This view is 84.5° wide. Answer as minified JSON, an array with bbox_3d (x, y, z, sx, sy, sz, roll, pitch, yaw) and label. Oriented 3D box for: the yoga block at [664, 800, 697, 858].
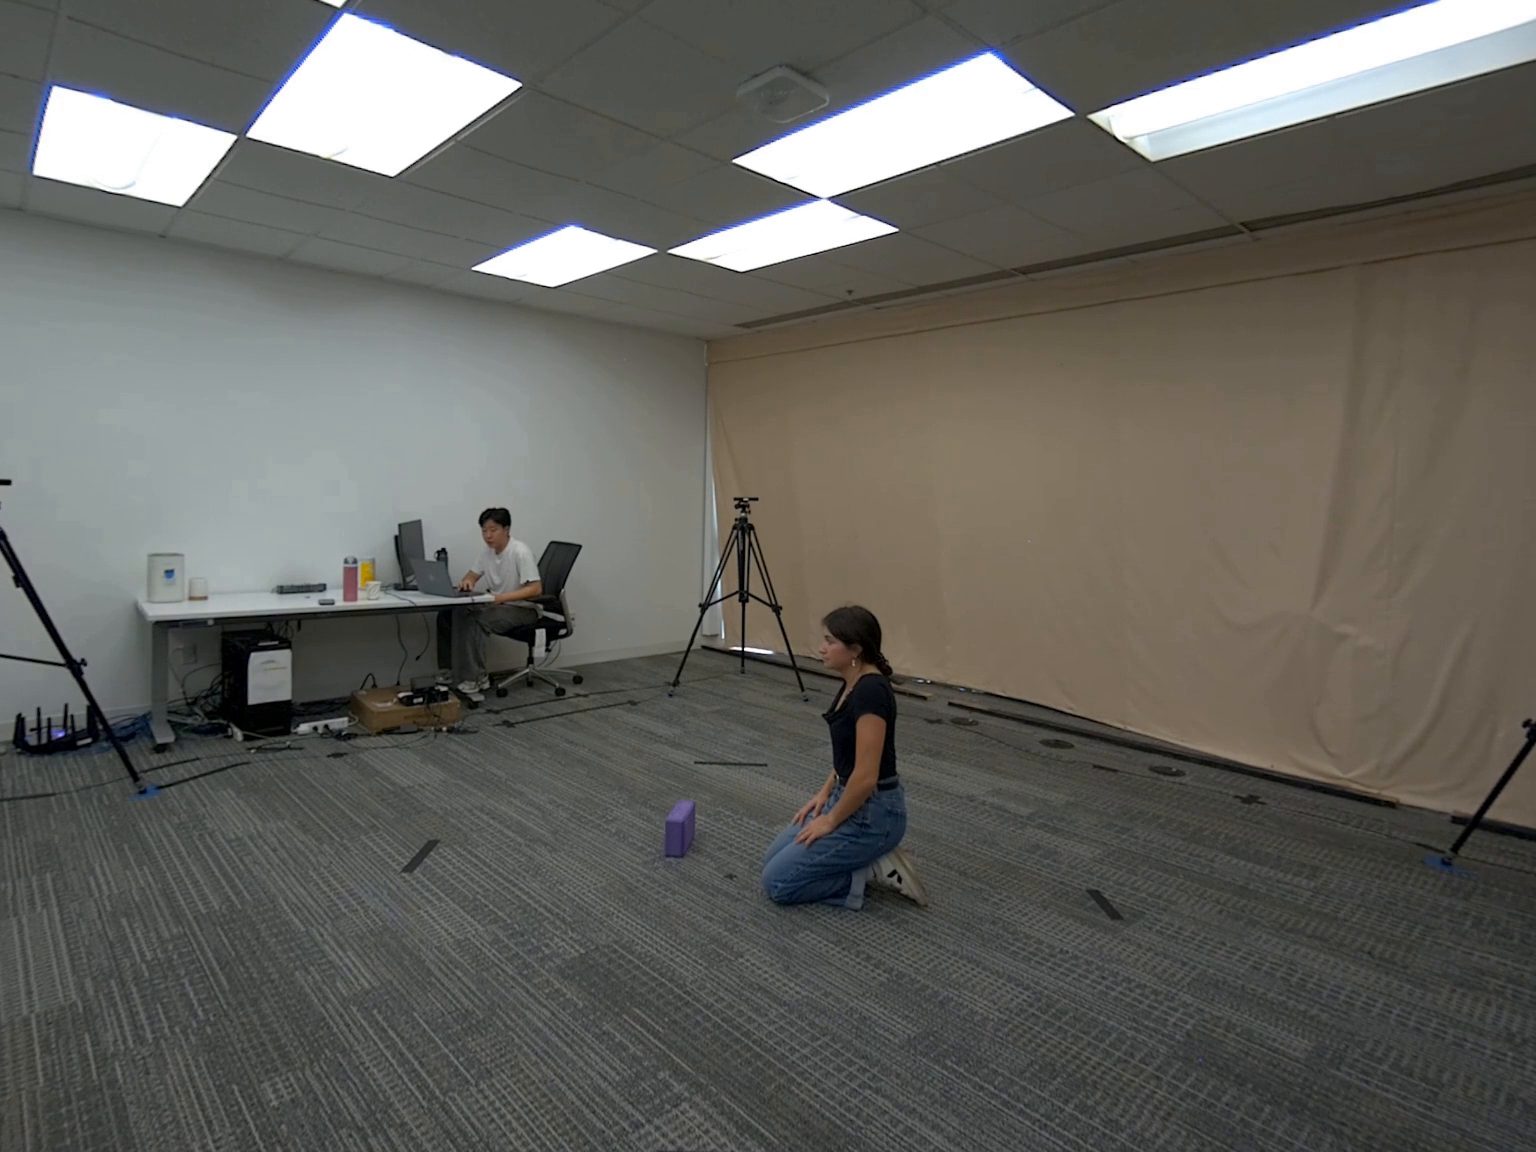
[{"bbox_3d":[-0.356,1.006,3.352,0.077,0.148,0.228,1,5,7],"label":"yoga block"}]
